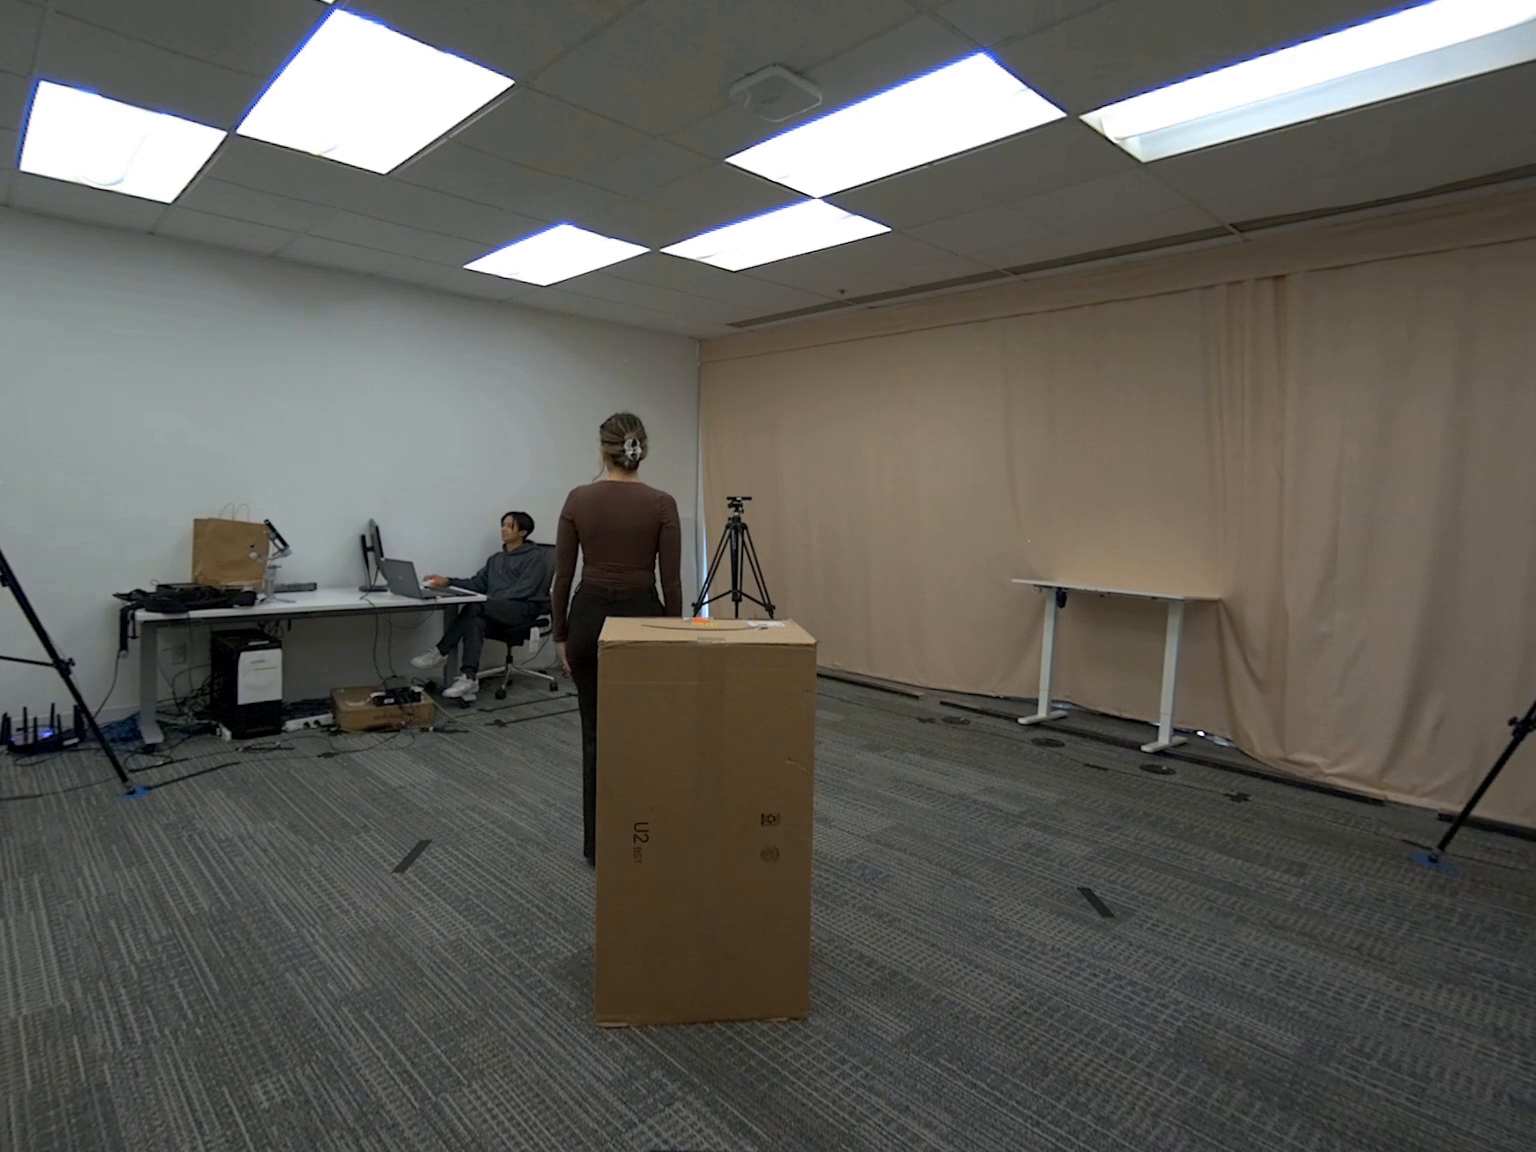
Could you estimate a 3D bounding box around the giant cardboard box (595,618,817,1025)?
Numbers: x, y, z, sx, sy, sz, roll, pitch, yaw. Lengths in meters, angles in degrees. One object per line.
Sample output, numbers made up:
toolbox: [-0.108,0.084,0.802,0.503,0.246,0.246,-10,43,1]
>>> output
giant cardboard box: [-0.197,0.655,2.405,0.581,1.025,0.450,1,3,-7]
